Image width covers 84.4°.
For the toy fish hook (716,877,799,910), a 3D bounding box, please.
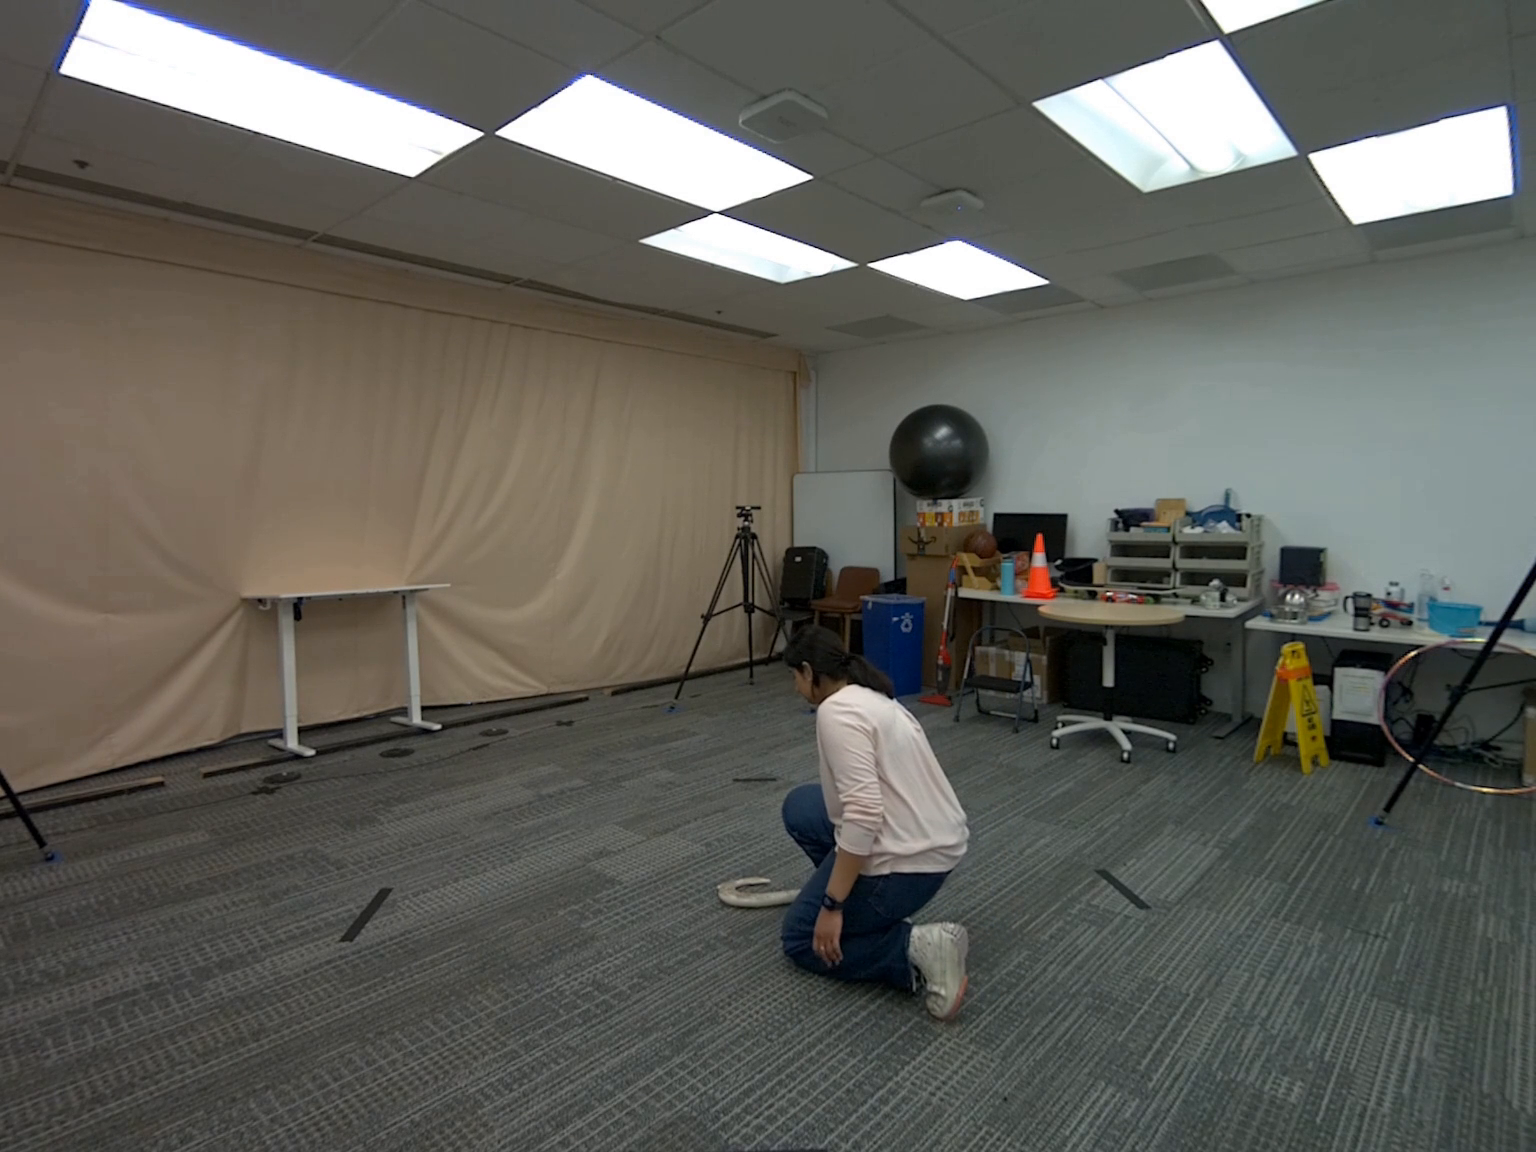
[{"bbox_3d":[0.083,1.114,3.010,0.505,0.048,0.226,0,5,-3],"label":"toy fish hook"}]
